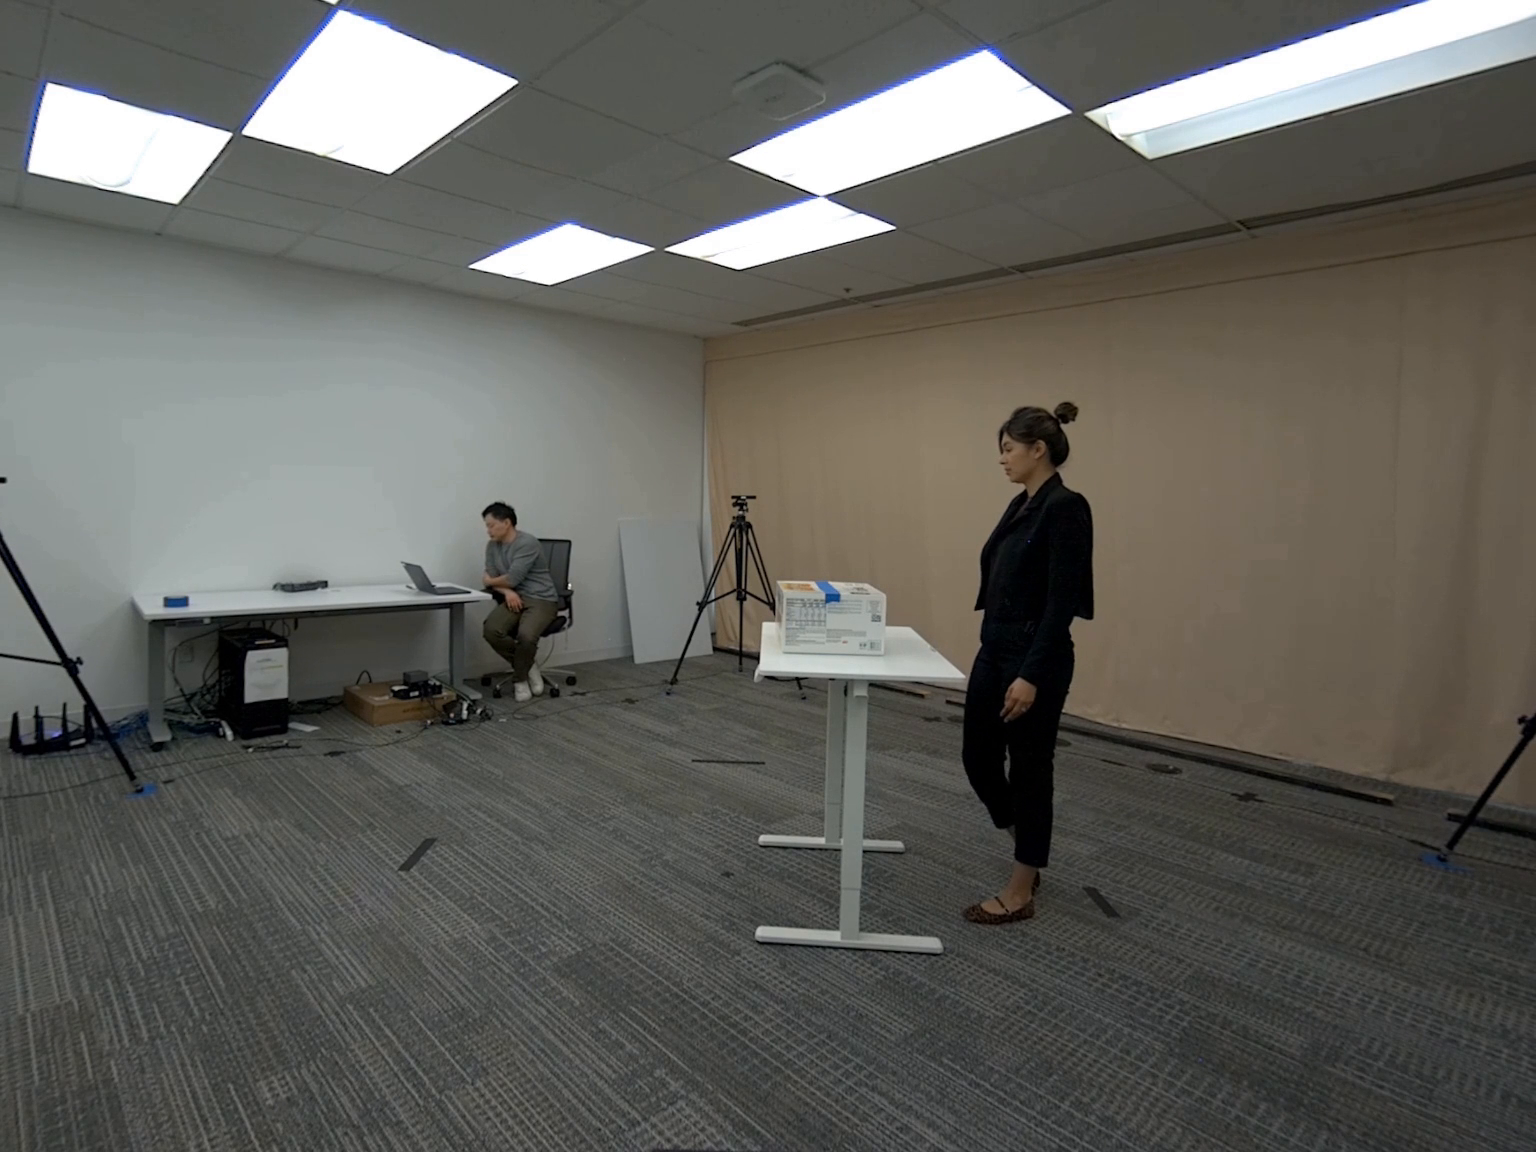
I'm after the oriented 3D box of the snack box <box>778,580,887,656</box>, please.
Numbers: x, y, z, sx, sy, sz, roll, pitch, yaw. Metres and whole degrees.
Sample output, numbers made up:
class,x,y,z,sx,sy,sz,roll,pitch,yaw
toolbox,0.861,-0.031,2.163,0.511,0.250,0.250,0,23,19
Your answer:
class,x,y,z,sx,sy,sz,roll,pitch,yaw
snack box,0.202,0.141,2.956,0.340,0.205,0.406,1,5,-1
